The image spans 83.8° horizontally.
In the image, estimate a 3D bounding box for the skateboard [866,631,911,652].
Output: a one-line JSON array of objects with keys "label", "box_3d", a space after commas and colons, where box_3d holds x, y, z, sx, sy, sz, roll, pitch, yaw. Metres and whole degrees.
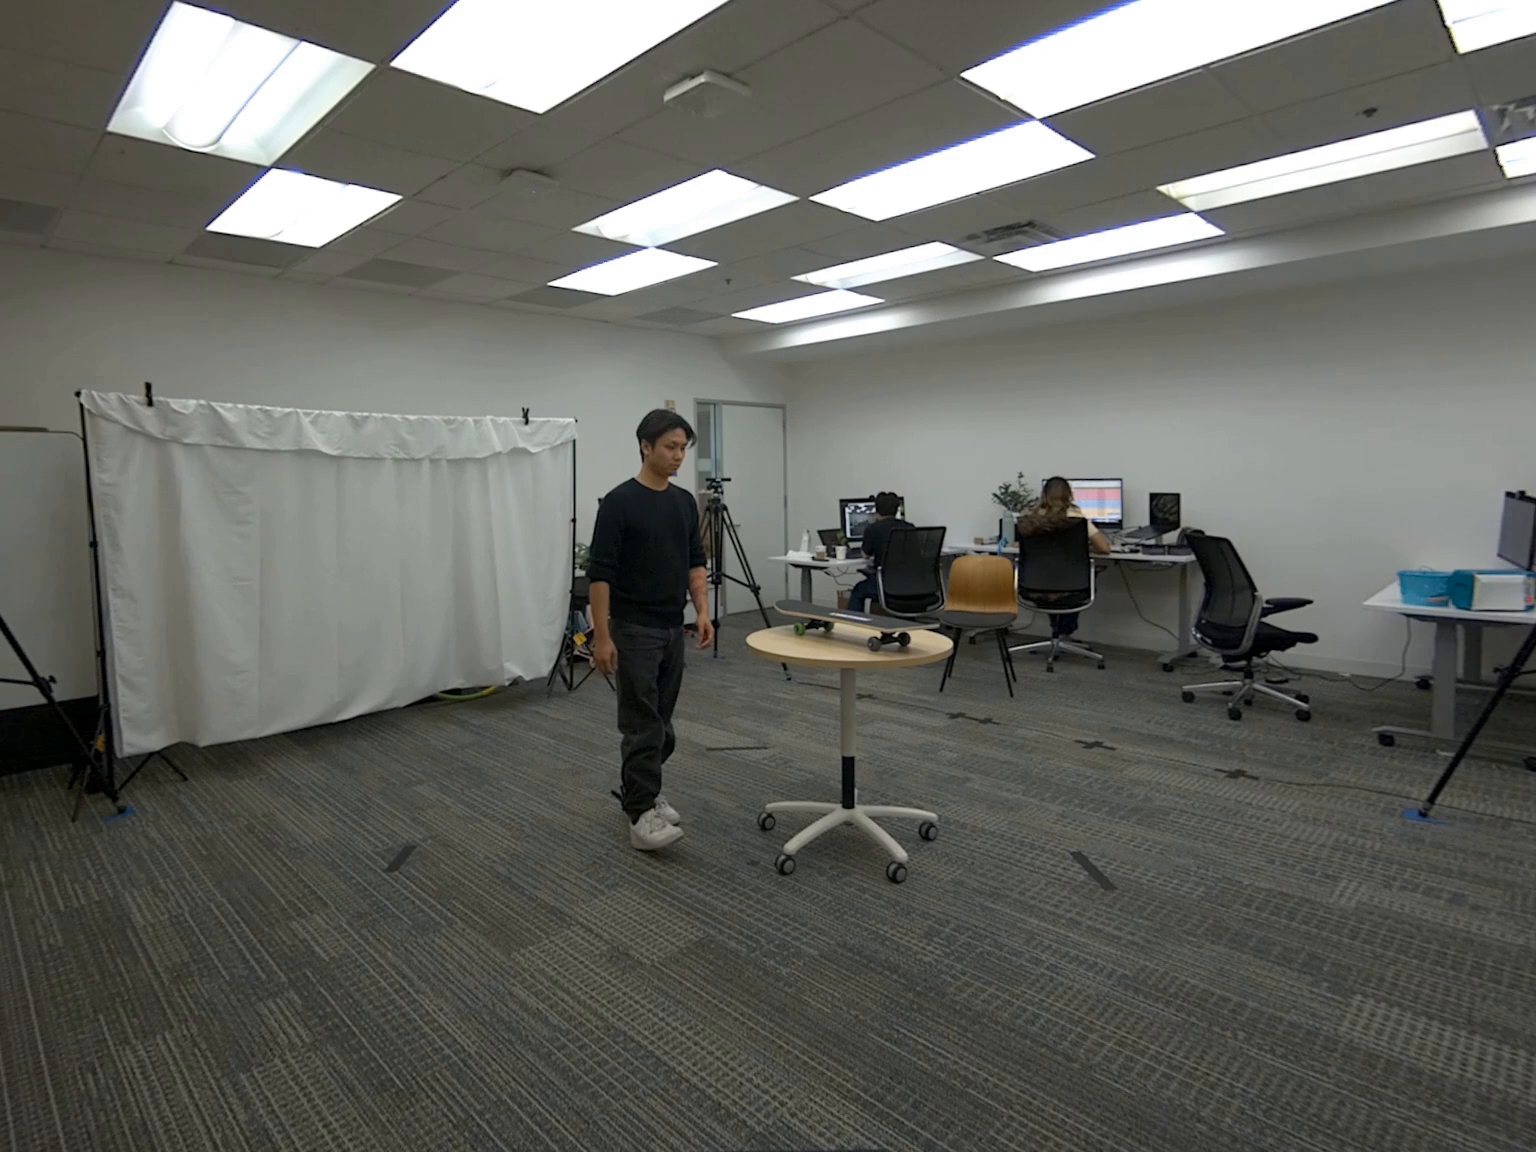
[{"label": "skateboard", "box_3d": [0.307, 0.192, 3.191, 0.189, 0.110, 0.810, -7, 9, -37]}]
